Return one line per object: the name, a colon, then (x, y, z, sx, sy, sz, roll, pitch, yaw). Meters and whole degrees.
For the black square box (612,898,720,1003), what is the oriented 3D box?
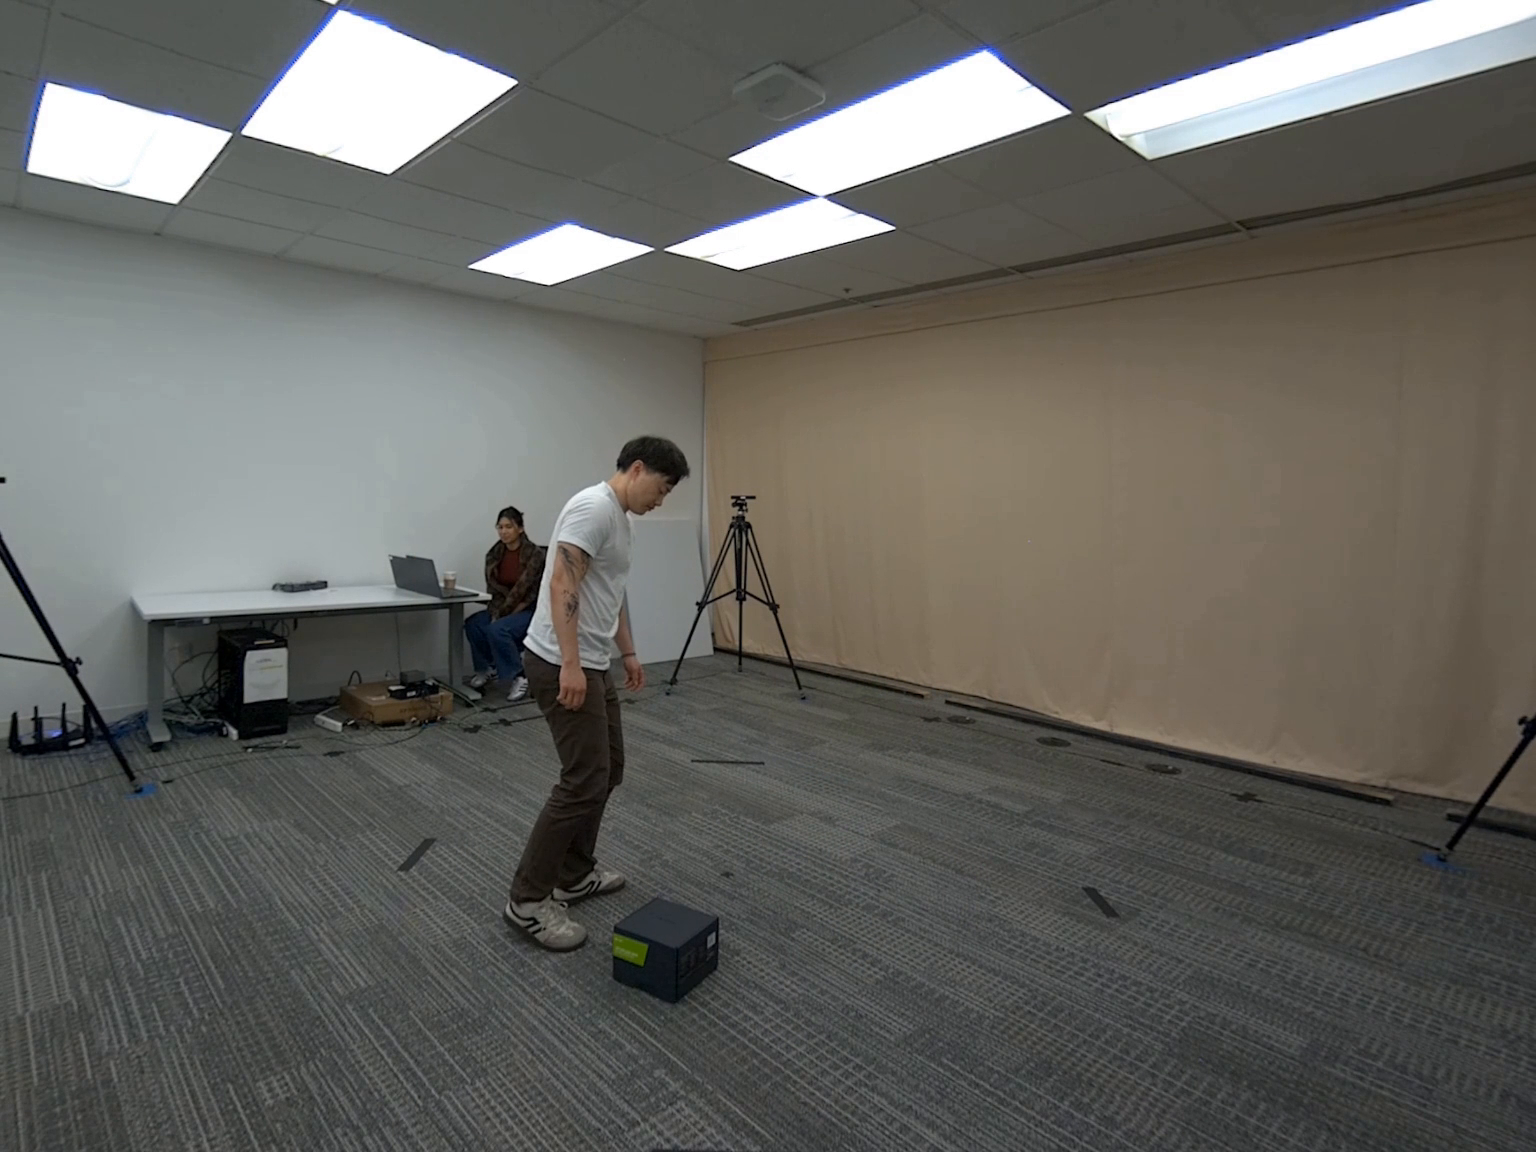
black square box: (-0.304, 1.078, 2.441, 0.233, 0.155, 0.213, 4, 5, 30)
